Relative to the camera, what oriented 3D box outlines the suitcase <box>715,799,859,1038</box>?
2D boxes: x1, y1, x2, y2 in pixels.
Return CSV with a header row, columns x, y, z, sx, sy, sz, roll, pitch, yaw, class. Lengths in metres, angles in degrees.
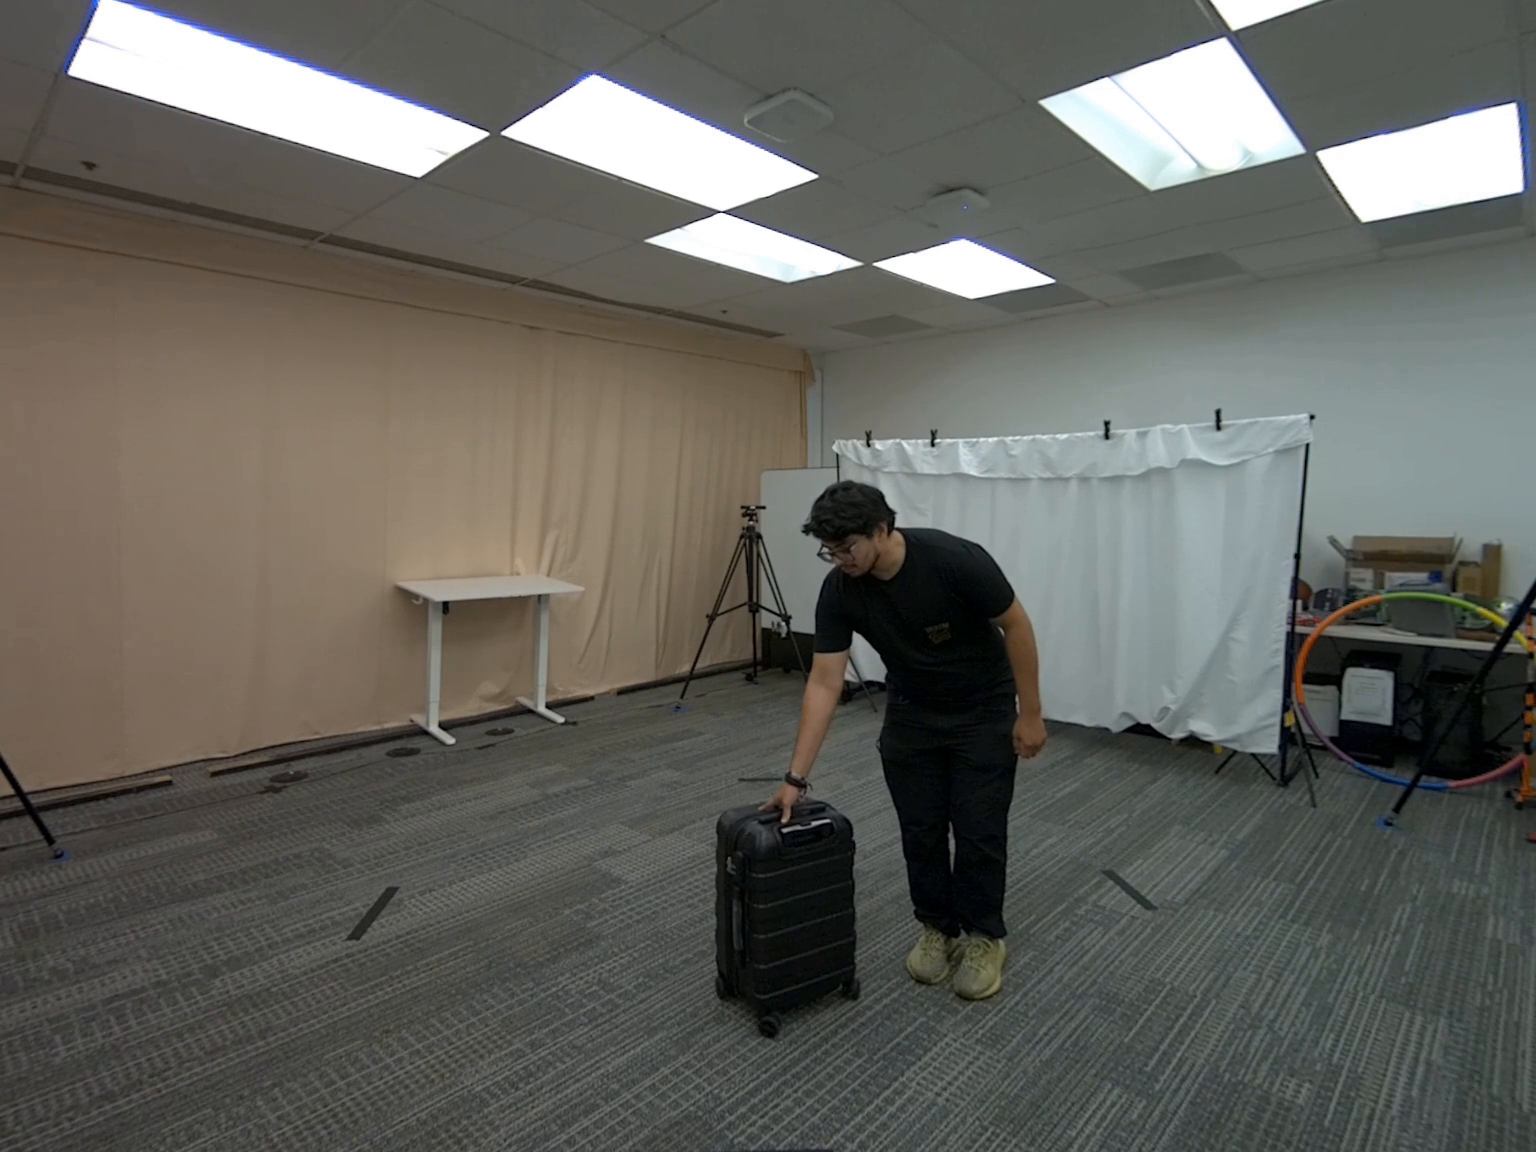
x,y,z,sx,sy,sz,roll,pitch,yaw,class
0.051,0.926,2.373,0.365,0.548,0.256,-2,3,-32,suitcase
